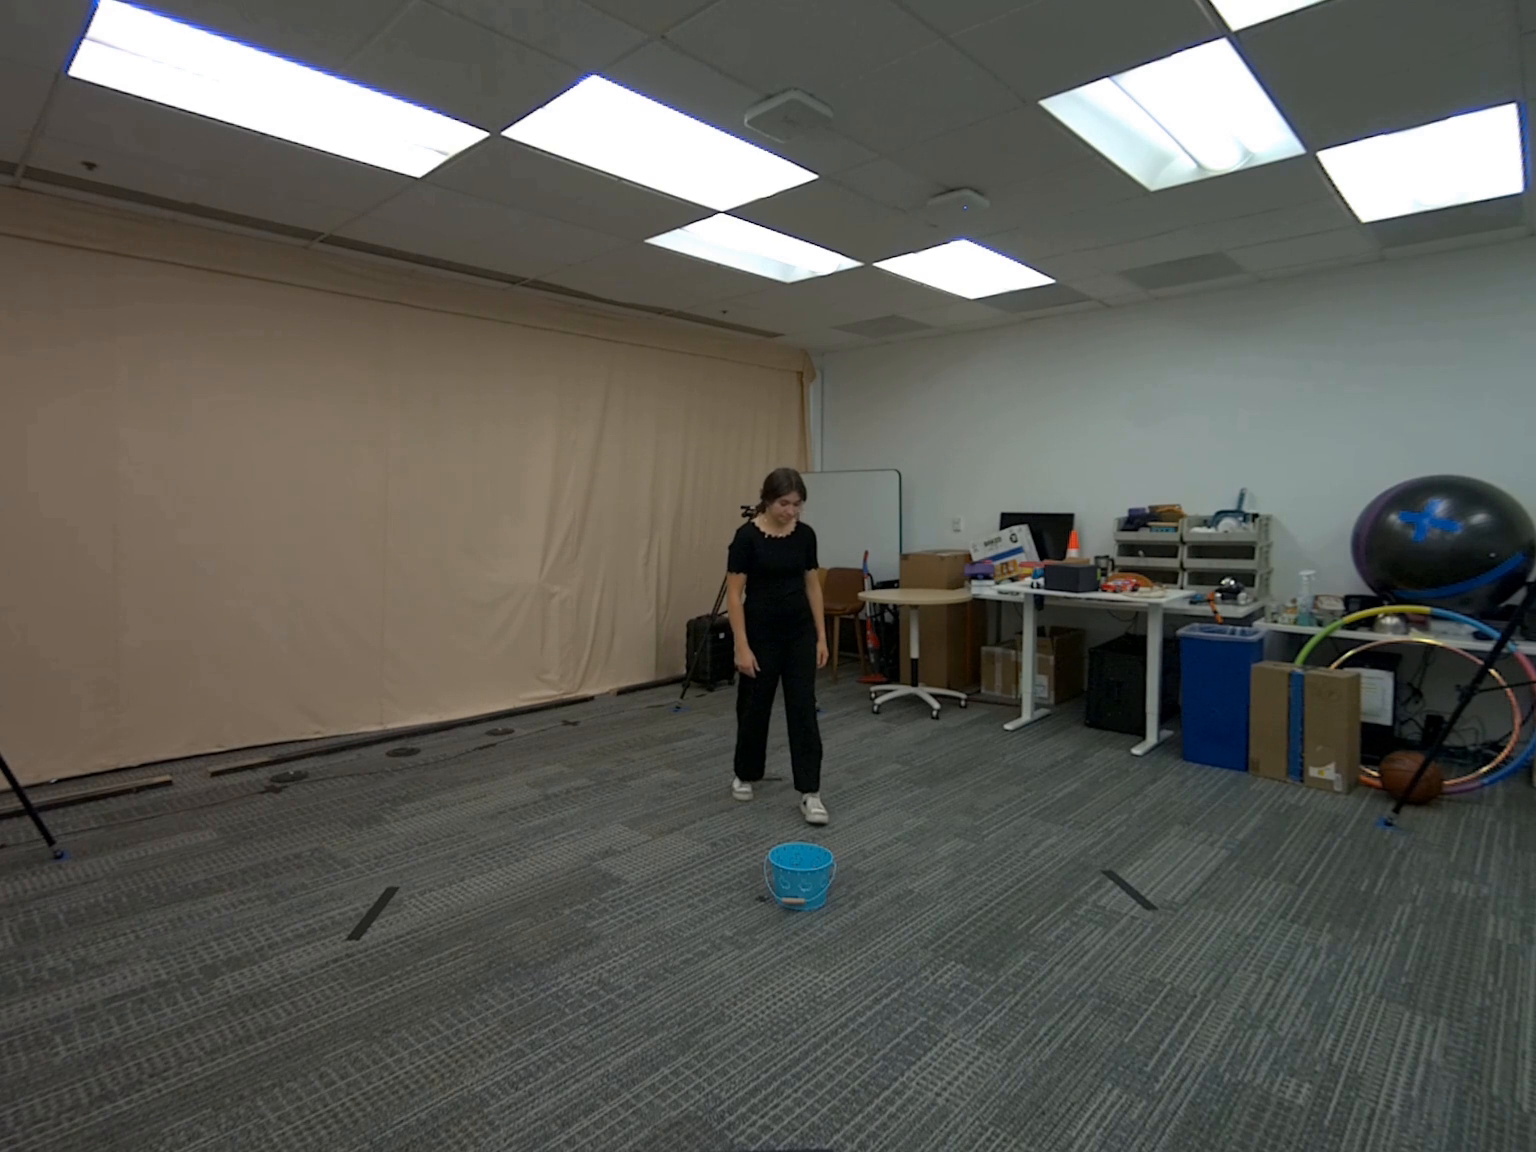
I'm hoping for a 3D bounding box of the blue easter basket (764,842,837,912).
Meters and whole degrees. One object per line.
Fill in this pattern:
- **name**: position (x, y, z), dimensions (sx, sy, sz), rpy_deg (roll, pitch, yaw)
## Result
- **blue easter basket**: position (0.111, 1.059, 2.983), dimensions (0.243, 0.155, 0.245), rpy_deg (1, 6, -2)
